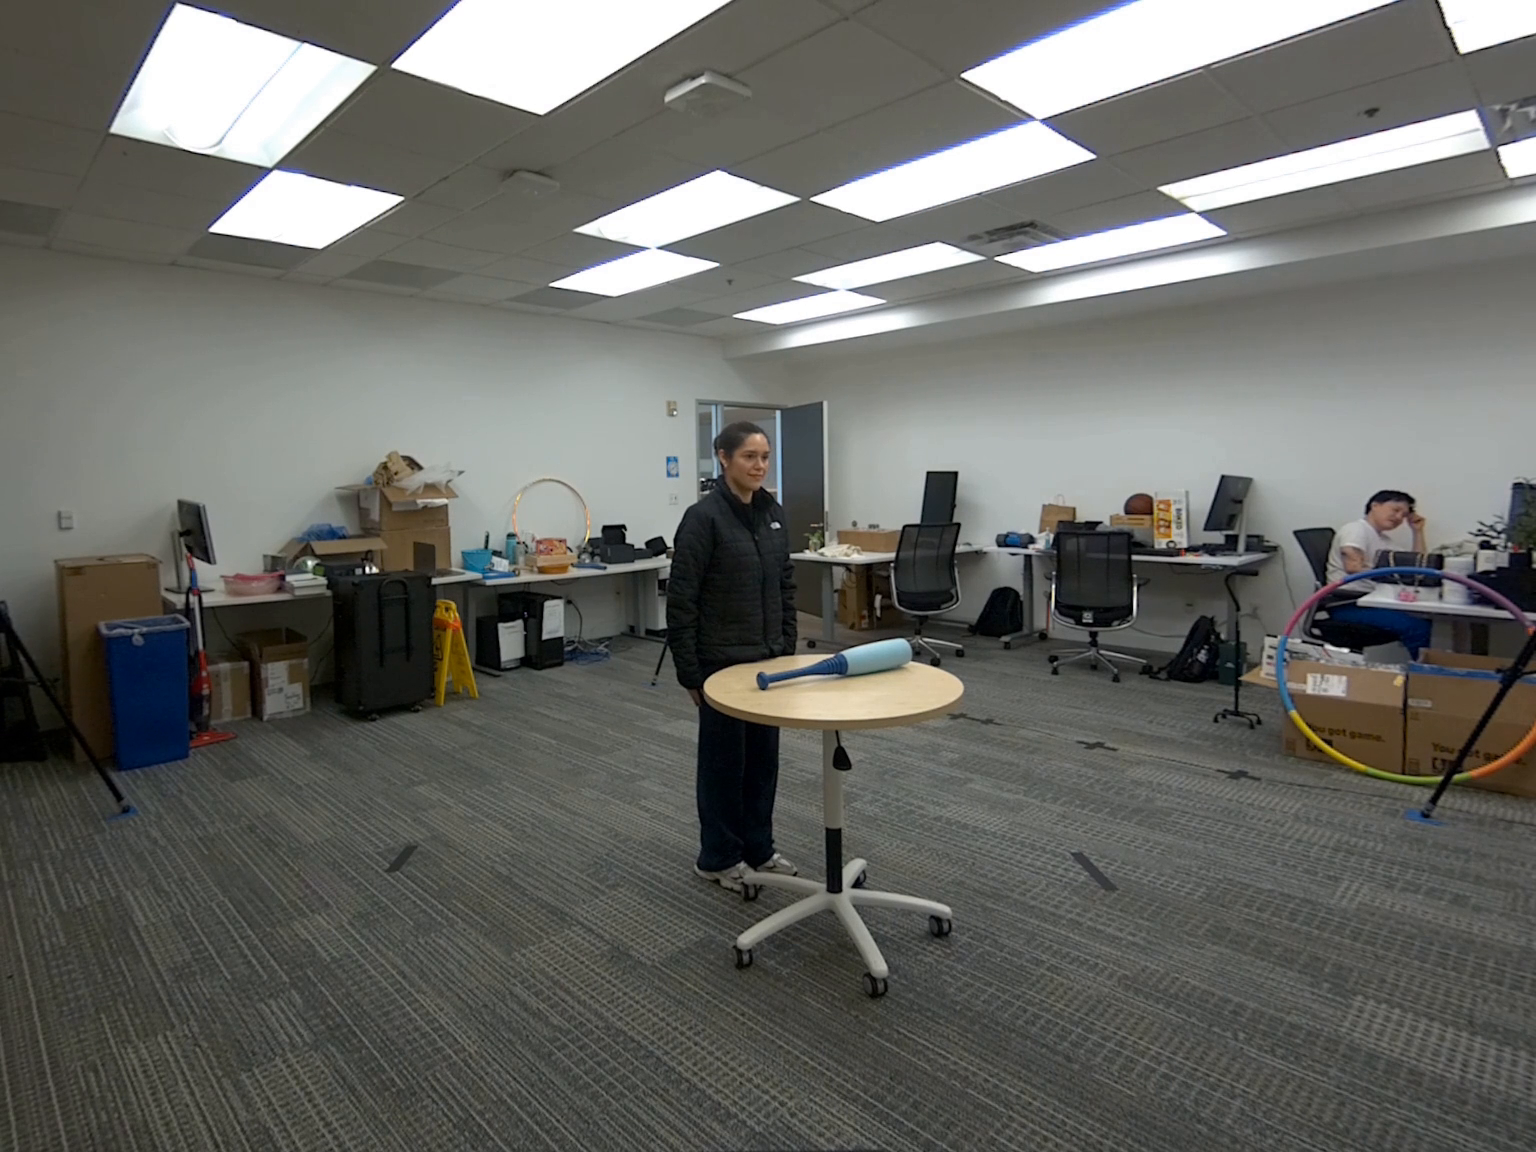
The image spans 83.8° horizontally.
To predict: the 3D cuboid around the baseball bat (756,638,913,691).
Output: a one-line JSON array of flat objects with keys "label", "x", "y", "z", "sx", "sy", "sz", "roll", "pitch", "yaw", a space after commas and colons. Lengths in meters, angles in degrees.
[{"label": "baseball bat", "x": 0.207, "y": 0.276, "z": 2.626, "sx": 0.532, "sy": 0.088, "sz": 0.091, "roll": -8, "pitch": 7, "yaw": -26}]
